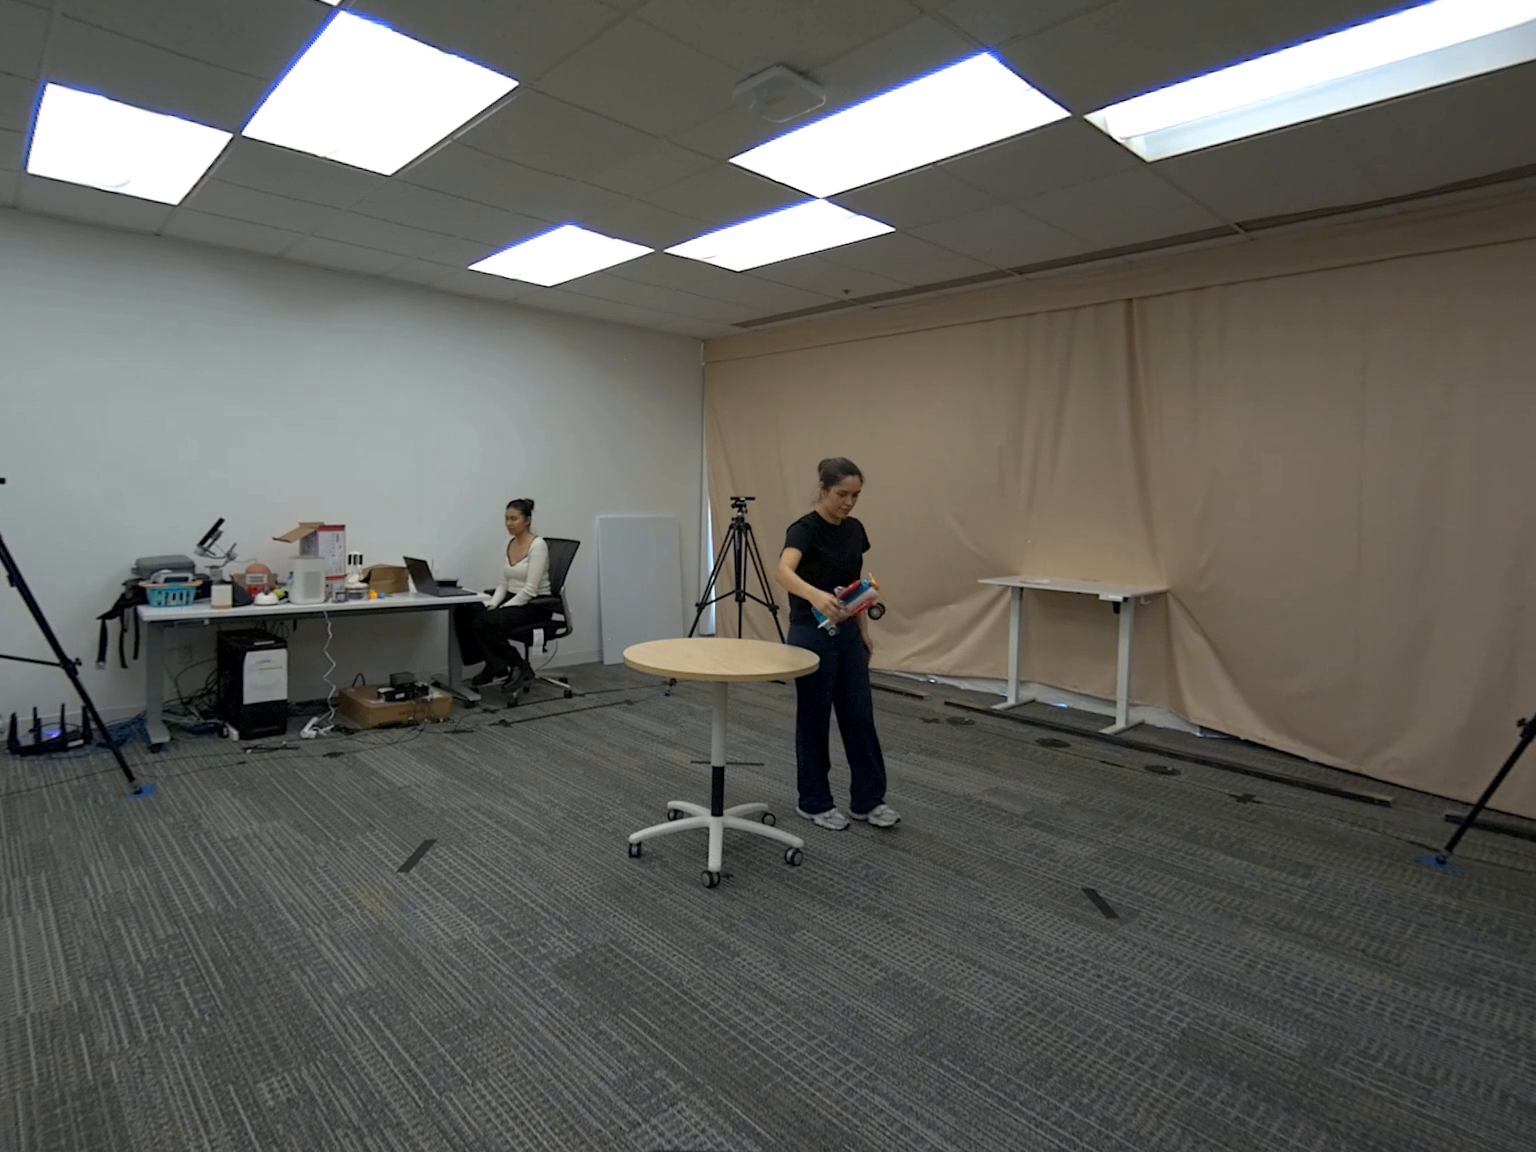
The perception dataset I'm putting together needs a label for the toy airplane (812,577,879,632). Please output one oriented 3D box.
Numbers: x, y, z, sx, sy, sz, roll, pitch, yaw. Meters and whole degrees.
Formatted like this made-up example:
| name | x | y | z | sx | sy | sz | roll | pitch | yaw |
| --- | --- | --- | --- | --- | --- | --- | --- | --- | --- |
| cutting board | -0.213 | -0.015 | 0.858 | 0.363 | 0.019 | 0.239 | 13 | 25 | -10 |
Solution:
| name | x | y | z | sx | sy | sz | roll | pitch | yaw |
| --- | --- | --- | --- | --- | --- | --- | --- | --- | --- |
| toy airplane | 0.281 | 0.099 | 3.008 | 0.258 | 0.157 | 0.251 | -21 | -4 | -12 |
